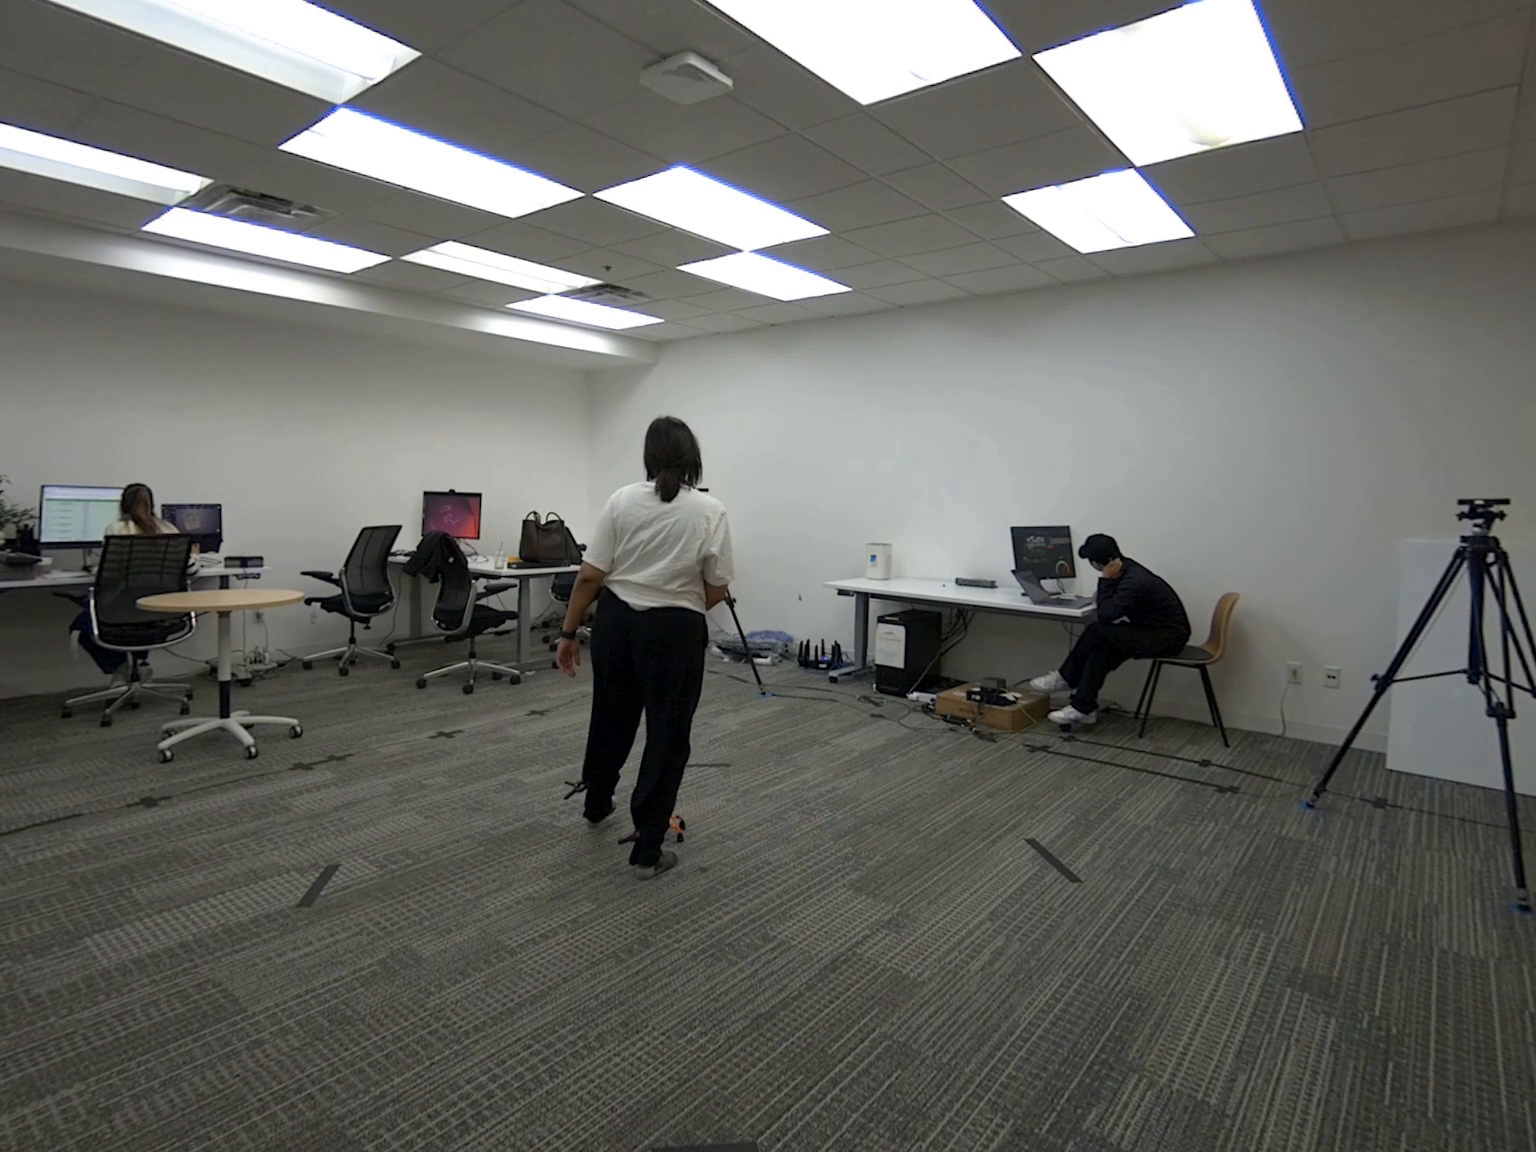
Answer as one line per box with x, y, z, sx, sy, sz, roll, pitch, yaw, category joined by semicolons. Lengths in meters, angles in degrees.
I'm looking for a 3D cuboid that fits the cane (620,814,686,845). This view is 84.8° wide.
-0.434;0.582;3.387;0.207;0.905;0.152;2;3;0;cane
